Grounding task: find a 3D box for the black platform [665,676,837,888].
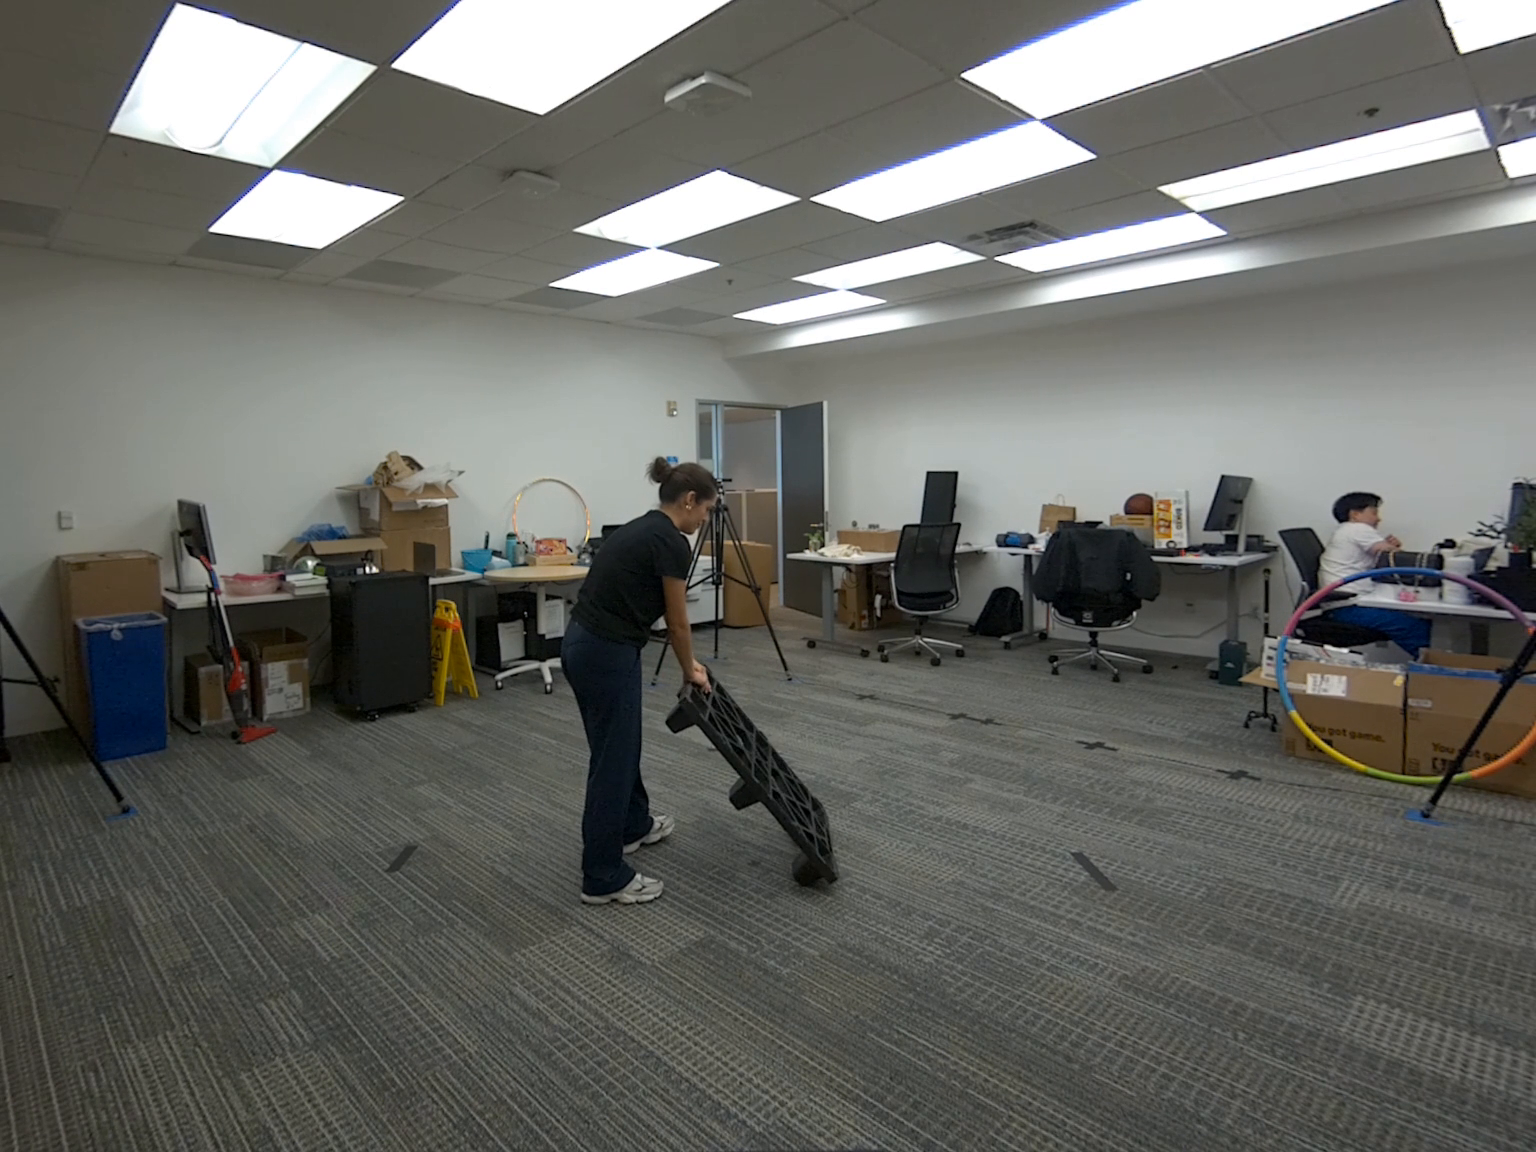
[{"bbox_3d":[-0.068,0.713,3.154,0.143,0.804,0.606,-38,2,4],"label":"black platform"}]
